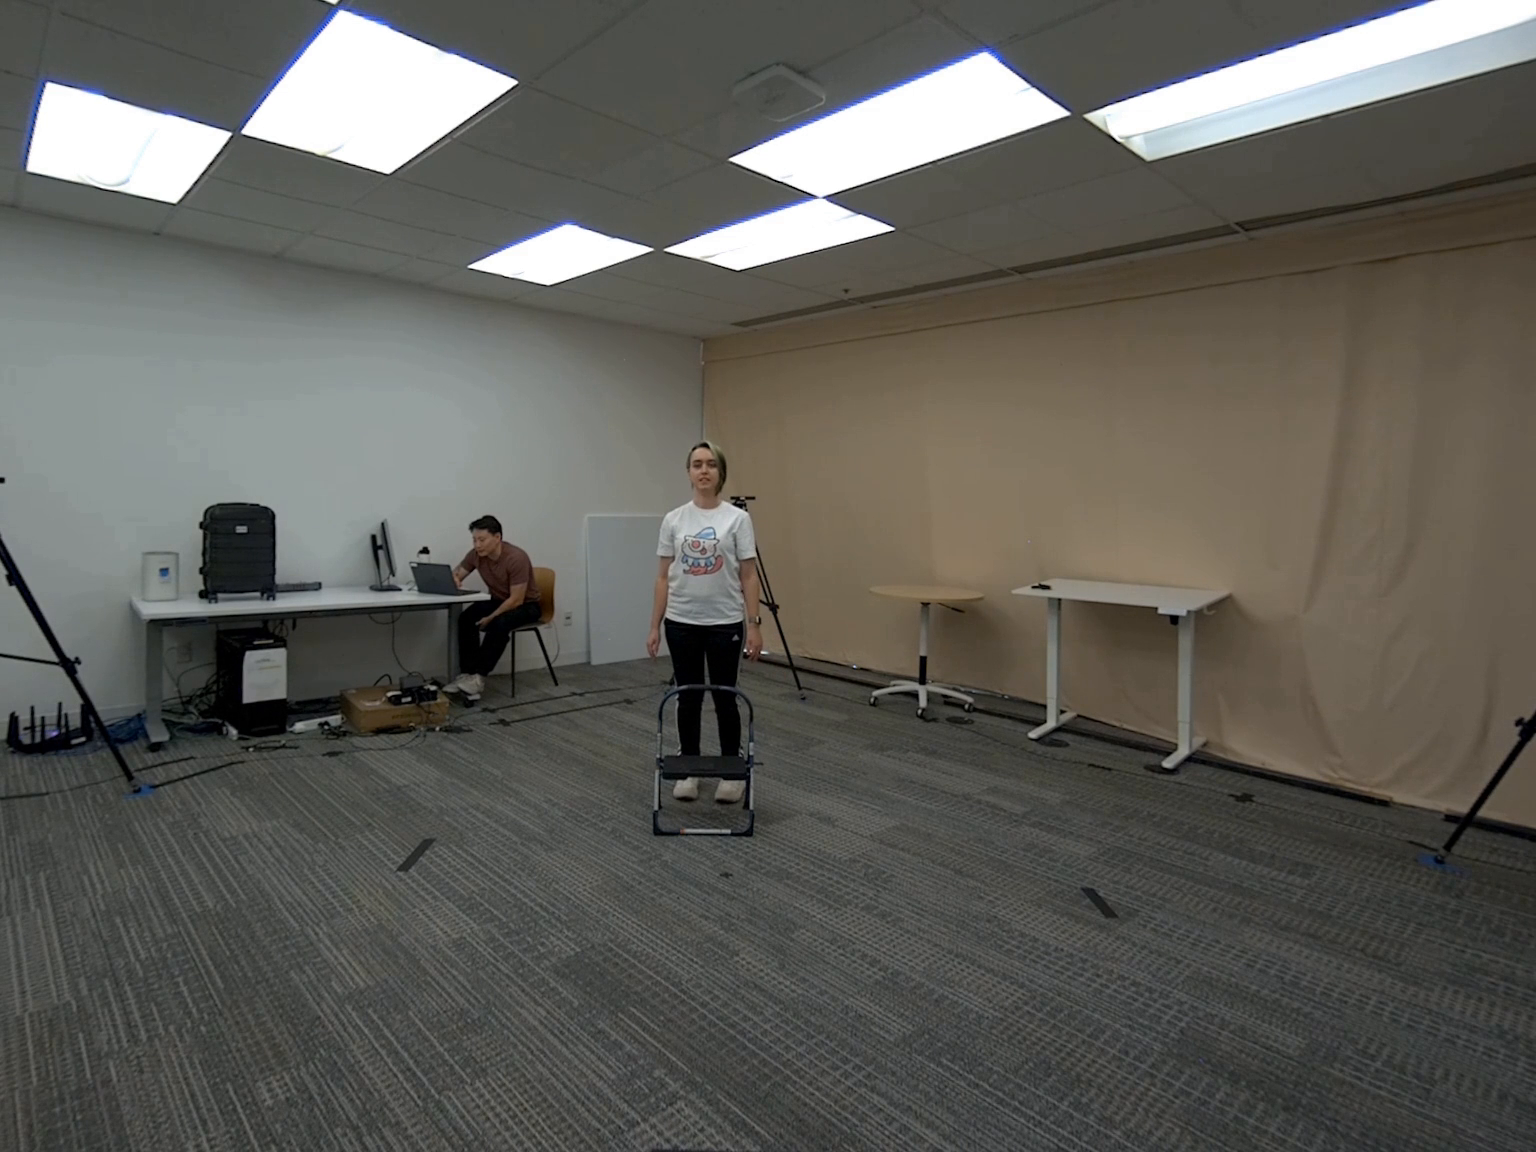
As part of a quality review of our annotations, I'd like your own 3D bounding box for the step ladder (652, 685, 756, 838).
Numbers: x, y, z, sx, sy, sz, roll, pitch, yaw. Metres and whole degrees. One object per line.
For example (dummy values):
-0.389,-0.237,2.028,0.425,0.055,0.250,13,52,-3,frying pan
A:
-0.283,0.758,3.614,0.429,0.605,0.351,1,3,-4,step ladder
